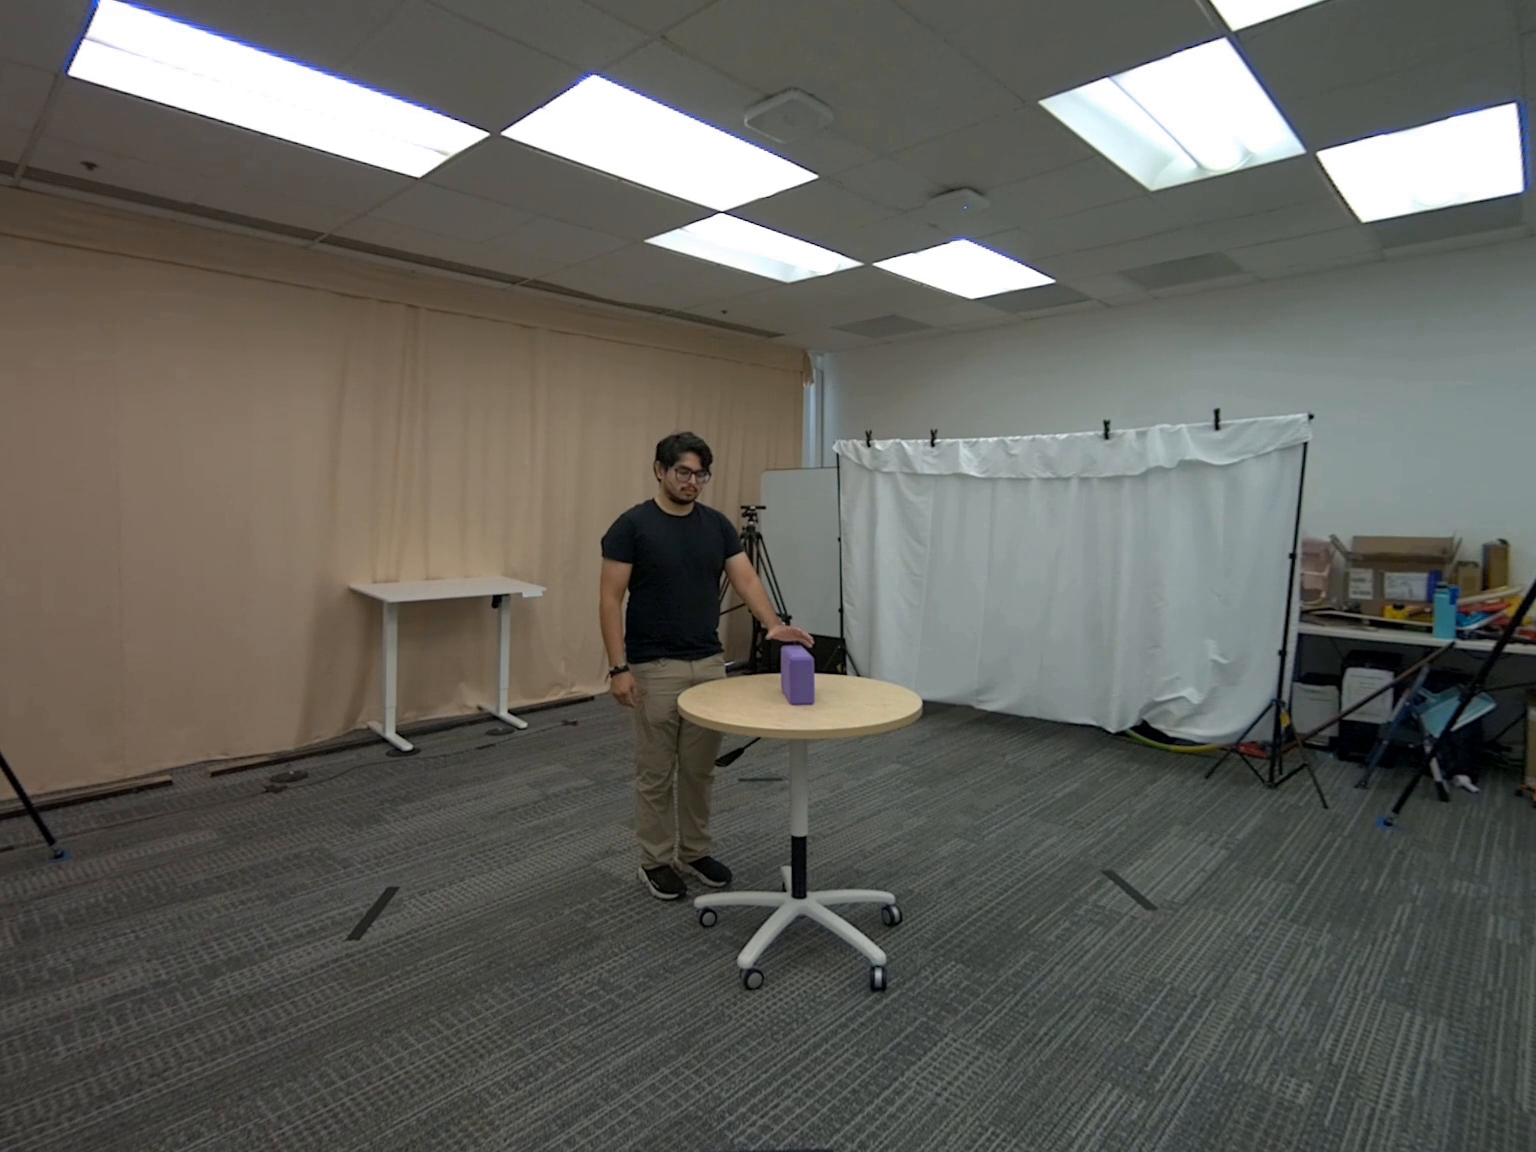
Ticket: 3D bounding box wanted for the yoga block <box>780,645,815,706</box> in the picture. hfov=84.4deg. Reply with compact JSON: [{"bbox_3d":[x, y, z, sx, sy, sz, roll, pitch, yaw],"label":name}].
[{"bbox_3d":[0.094,0.310,2.669,0.076,0.149,0.230,1,3,-3],"label":"yoga block"}]
